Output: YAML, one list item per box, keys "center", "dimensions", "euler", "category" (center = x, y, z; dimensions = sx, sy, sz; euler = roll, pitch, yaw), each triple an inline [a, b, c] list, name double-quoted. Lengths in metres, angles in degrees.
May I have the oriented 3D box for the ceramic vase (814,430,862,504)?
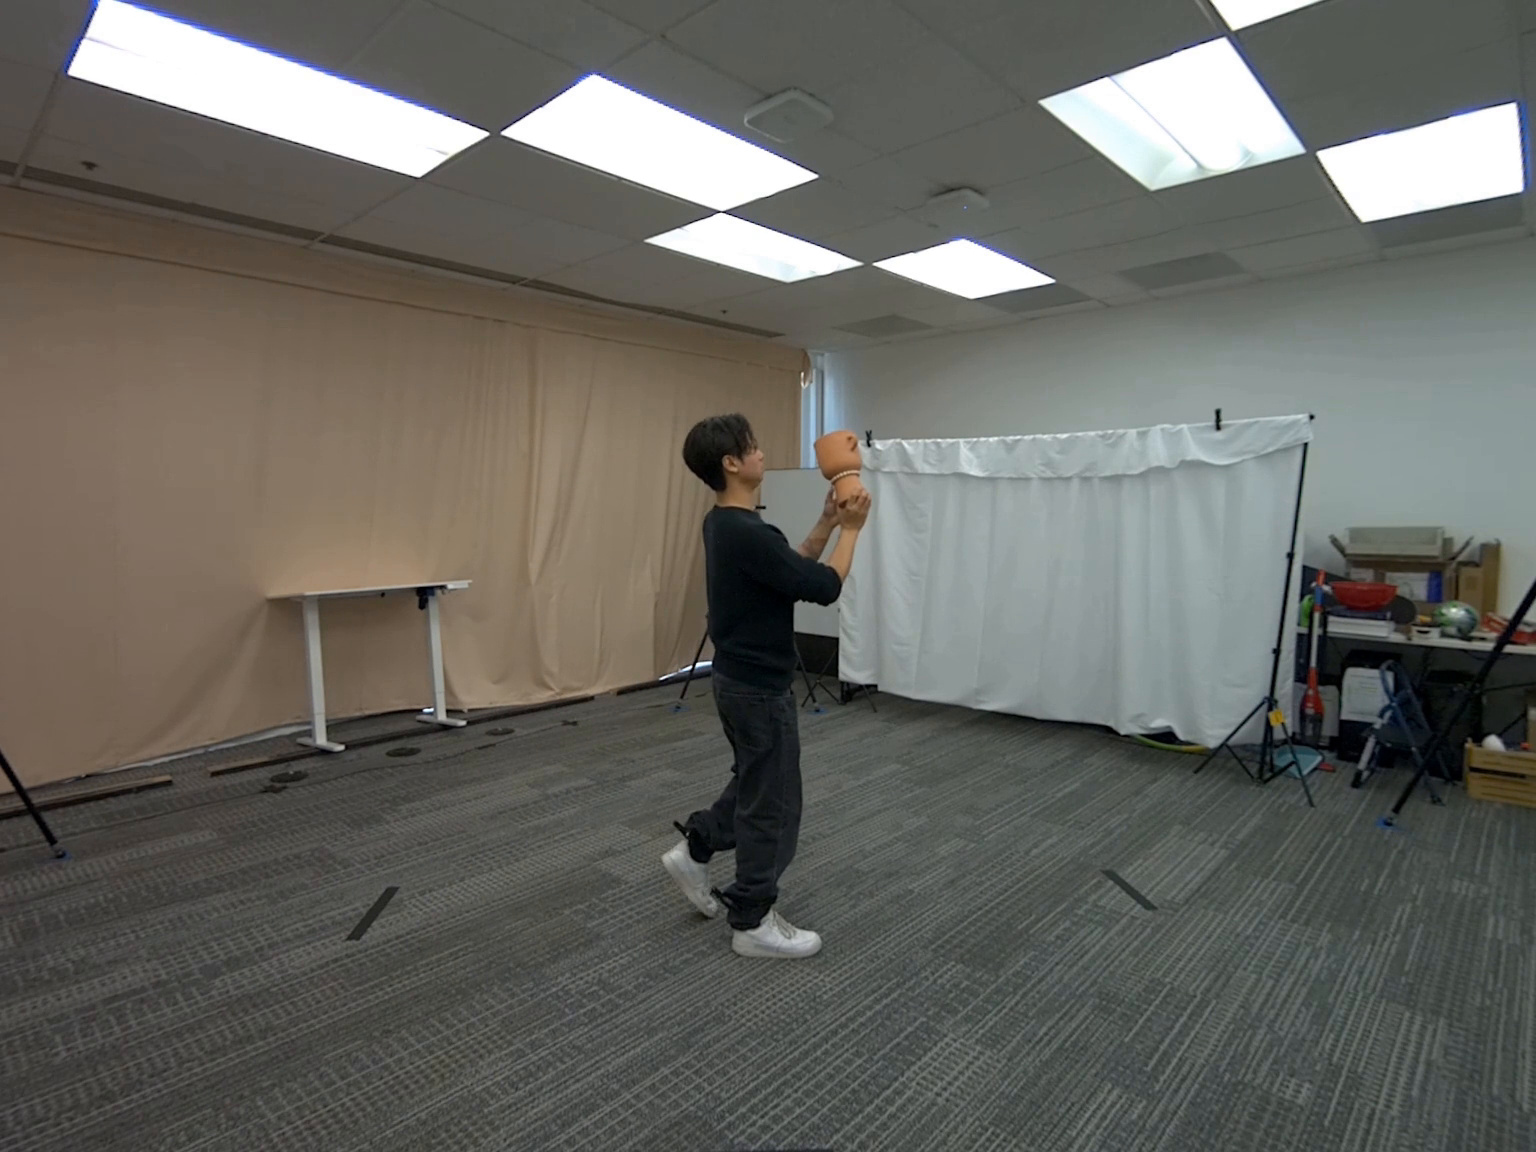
- center: [0.236, -0.336, 2.667]
  dimensions: [0.135, 0.222, 0.156]
  euler: [-15, -14, 5]
  category: "ceramic vase"
